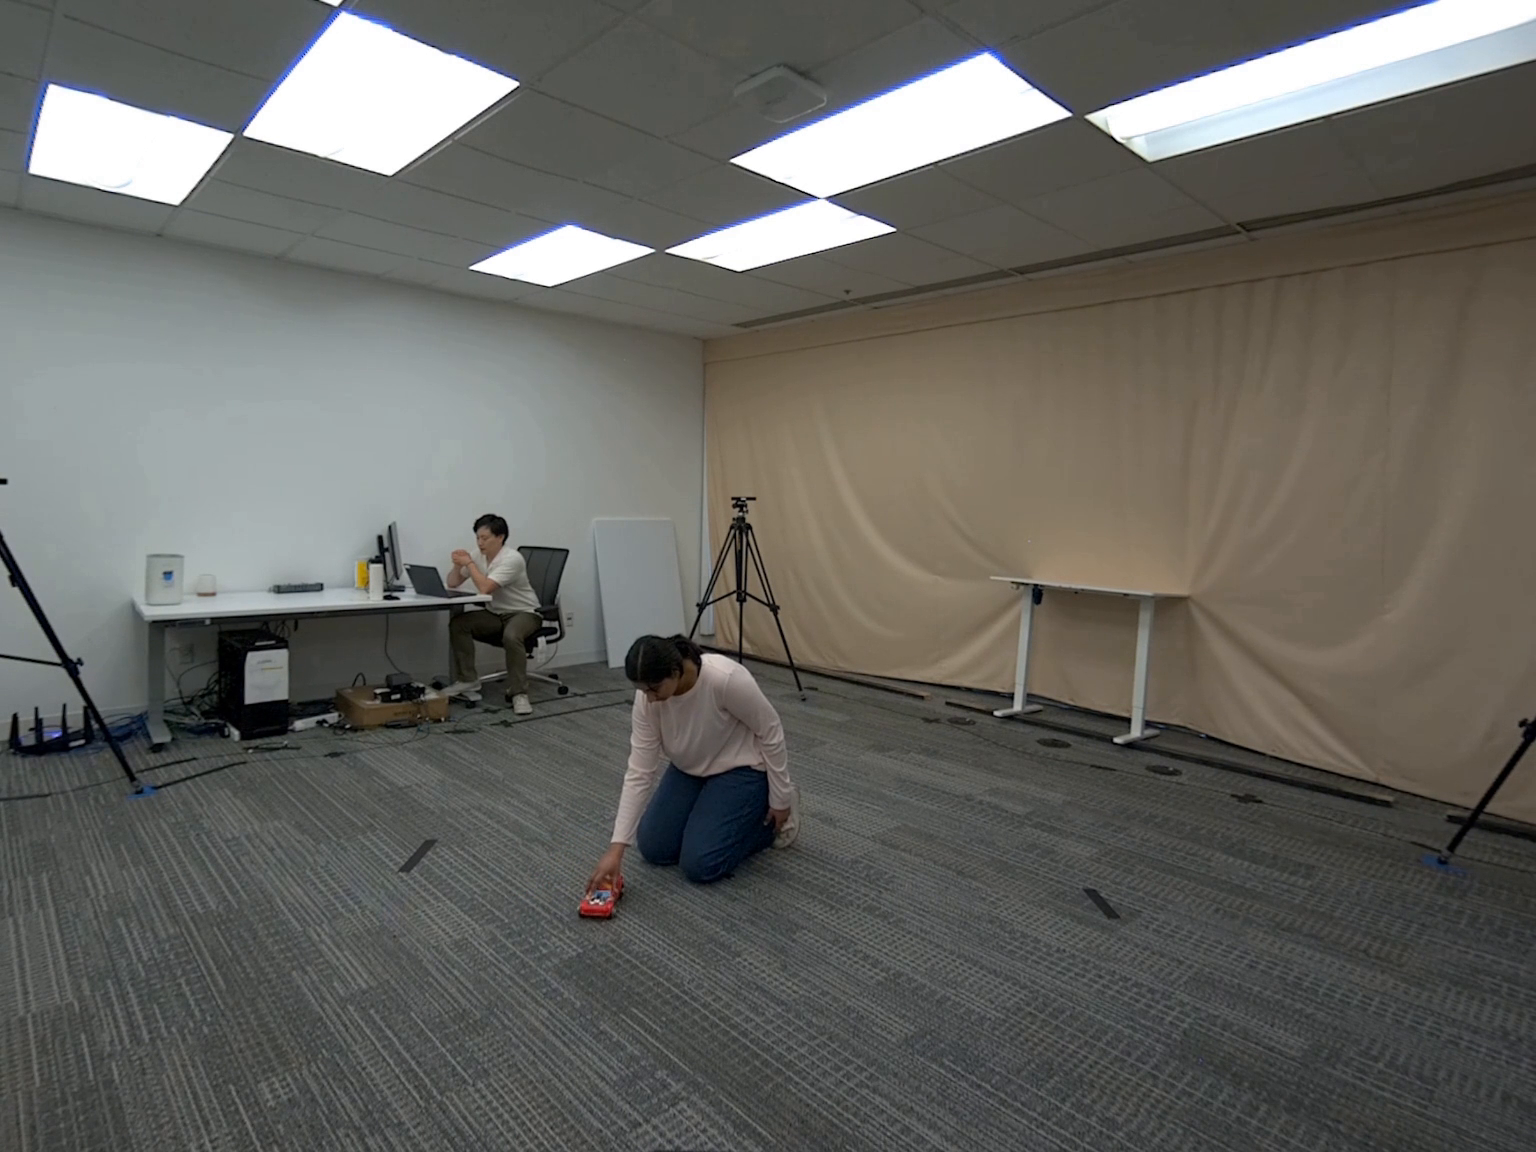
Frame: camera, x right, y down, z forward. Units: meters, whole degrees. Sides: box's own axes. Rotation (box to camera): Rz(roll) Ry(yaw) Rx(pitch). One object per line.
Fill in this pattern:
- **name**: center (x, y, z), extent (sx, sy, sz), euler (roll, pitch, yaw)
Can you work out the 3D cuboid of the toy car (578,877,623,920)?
- **toy car**: center (-0.570, 1.087, 2.869), extent (0.130, 0.082, 0.256), euler (1, 15, 1)
